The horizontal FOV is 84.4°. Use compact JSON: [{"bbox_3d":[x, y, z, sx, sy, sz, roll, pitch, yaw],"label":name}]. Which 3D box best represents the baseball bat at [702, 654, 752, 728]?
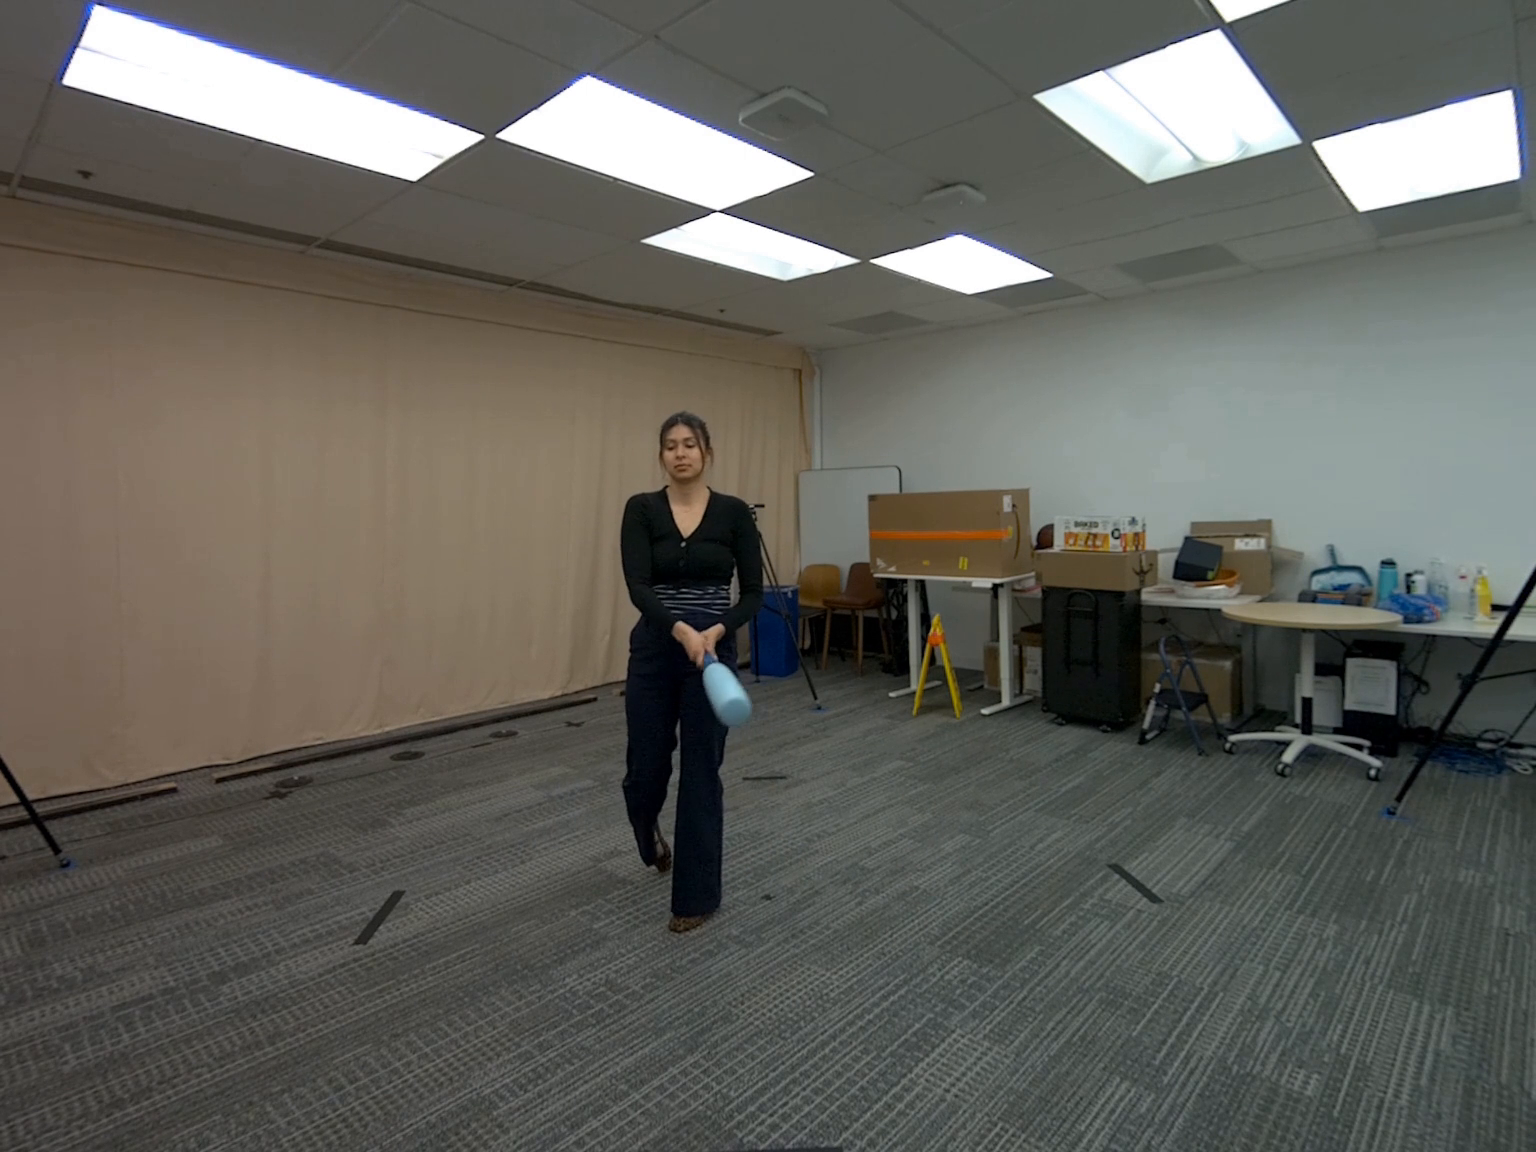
[{"bbox_3d":[-0.139,0.261,2.340,0.088,0.088,0.554,-2,14,-14],"label":"baseball bat"}]
